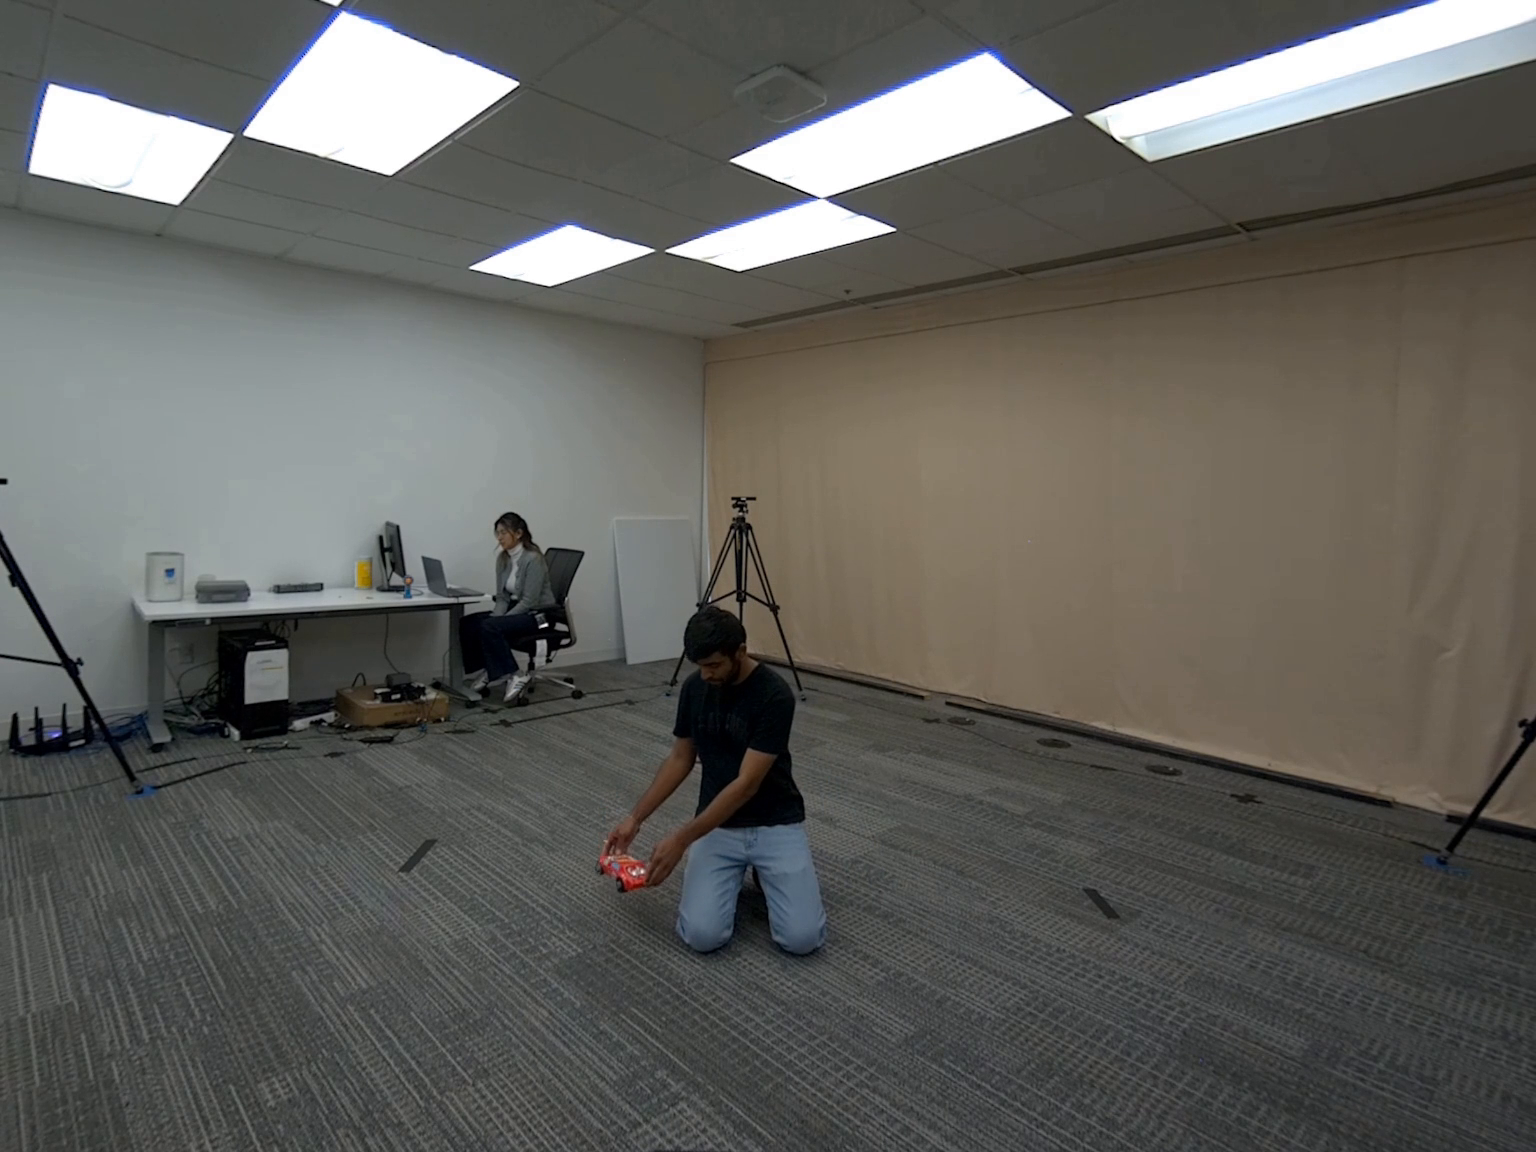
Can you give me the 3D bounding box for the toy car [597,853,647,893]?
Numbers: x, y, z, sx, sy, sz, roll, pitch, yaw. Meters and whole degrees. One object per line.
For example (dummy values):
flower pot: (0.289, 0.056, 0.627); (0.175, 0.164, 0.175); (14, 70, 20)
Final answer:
toy car: (-0.457, 0.956, 2.721); (0.127, 0.083, 0.259); (0, -5, -38)
